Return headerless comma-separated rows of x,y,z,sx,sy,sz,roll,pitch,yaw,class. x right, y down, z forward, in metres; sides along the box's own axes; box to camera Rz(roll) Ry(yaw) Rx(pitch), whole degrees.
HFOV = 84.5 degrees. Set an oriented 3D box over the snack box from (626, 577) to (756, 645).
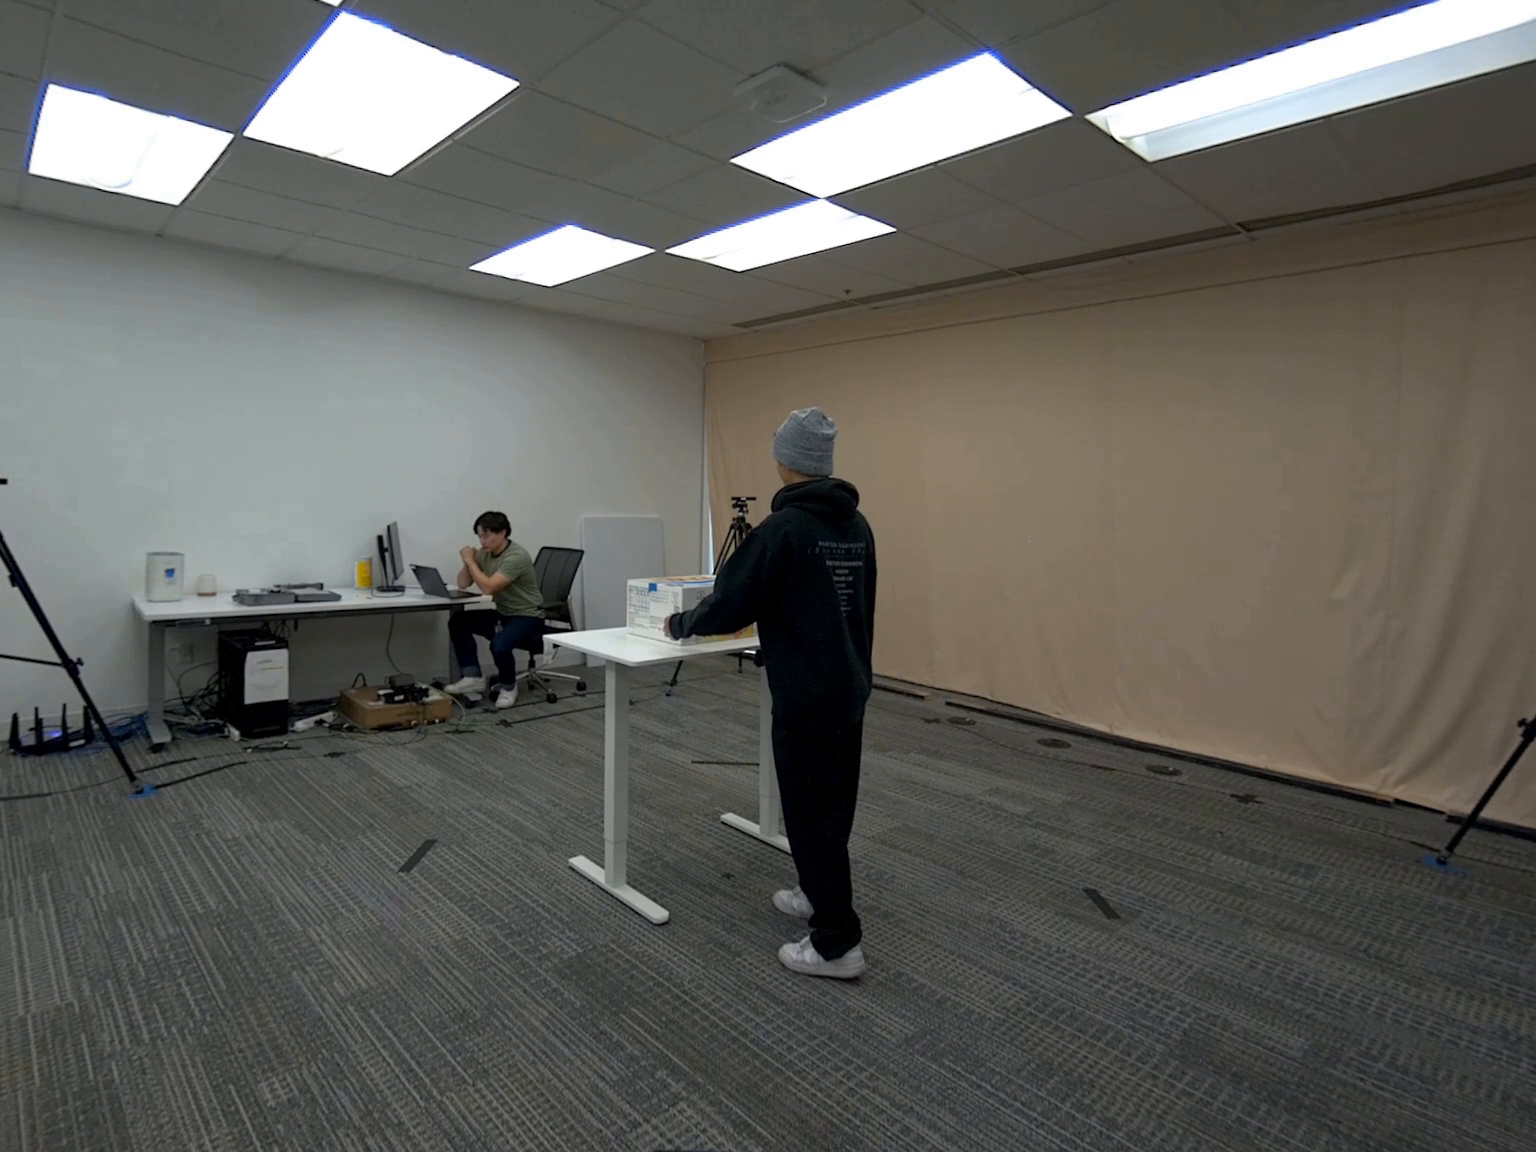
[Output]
-0.269,0.118,3.138,0.396,0.205,0.349,-4,6,-43,snack box
